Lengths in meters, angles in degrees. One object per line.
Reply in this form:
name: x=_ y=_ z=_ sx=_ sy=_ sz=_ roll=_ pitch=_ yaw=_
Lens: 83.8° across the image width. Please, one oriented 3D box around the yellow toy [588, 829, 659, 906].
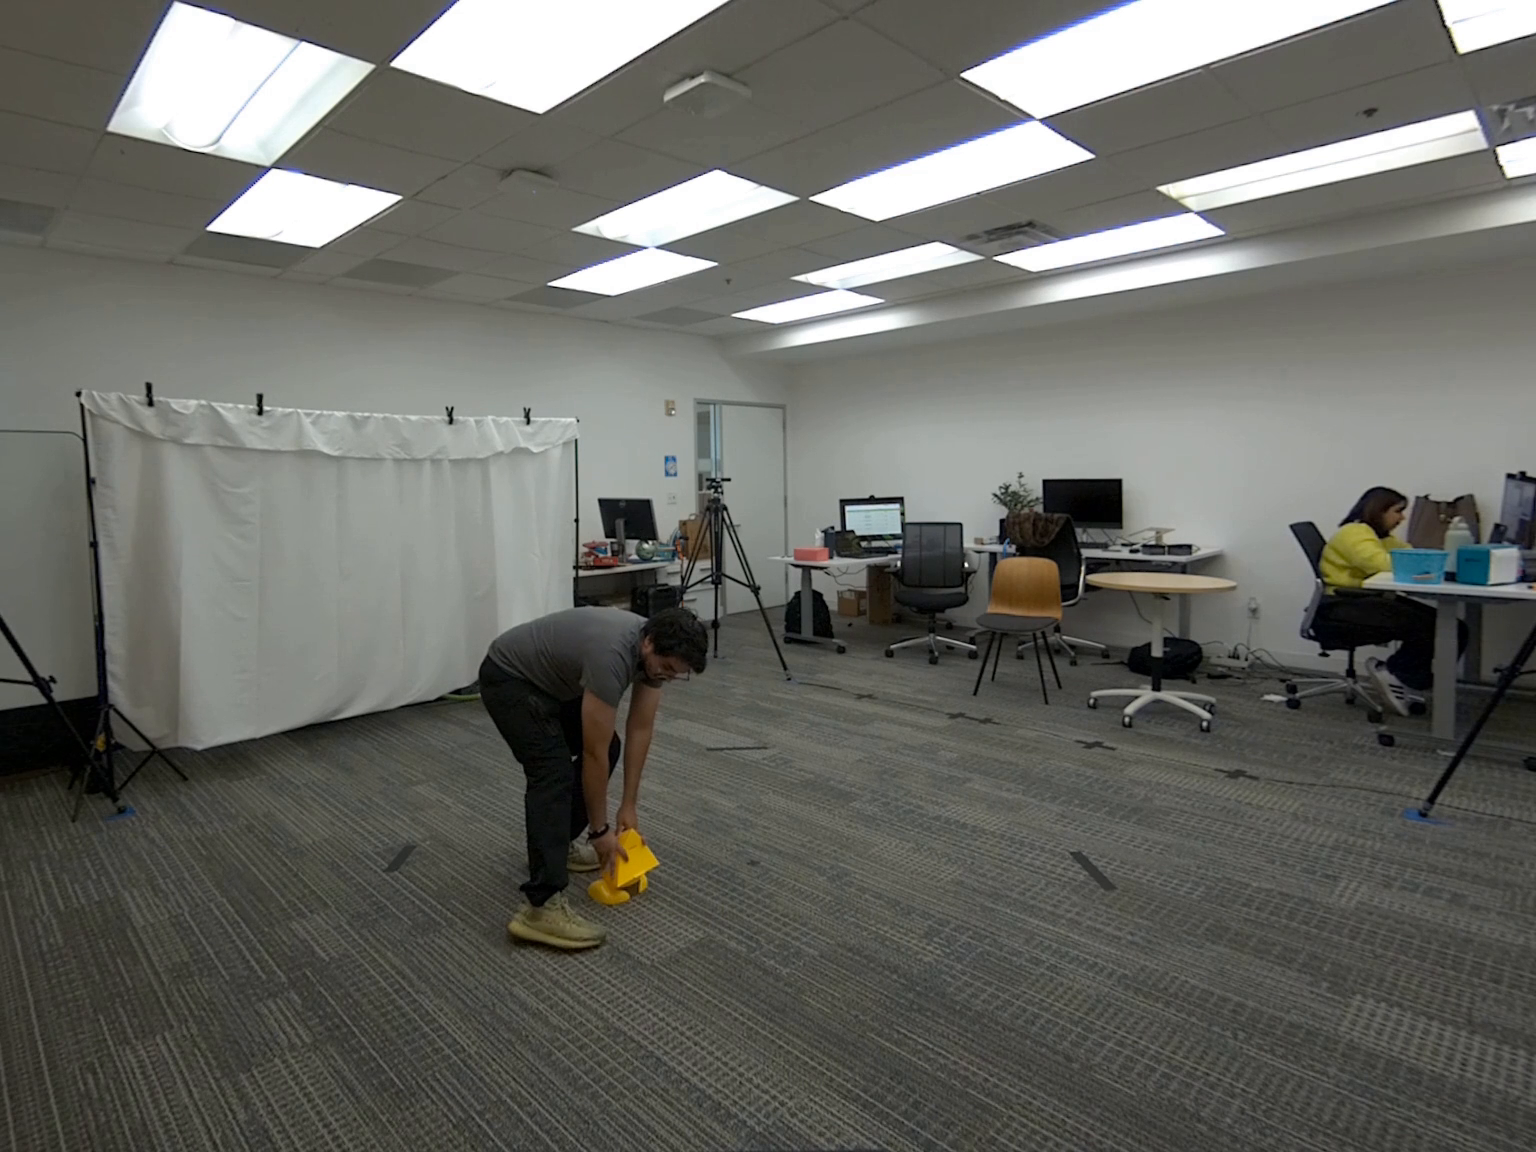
yellow toy: x=-0.503 y=0.963 z=2.911 sx=0.199 sy=0.229 sz=0.200 roll=3 pitch=7 yaw=37
